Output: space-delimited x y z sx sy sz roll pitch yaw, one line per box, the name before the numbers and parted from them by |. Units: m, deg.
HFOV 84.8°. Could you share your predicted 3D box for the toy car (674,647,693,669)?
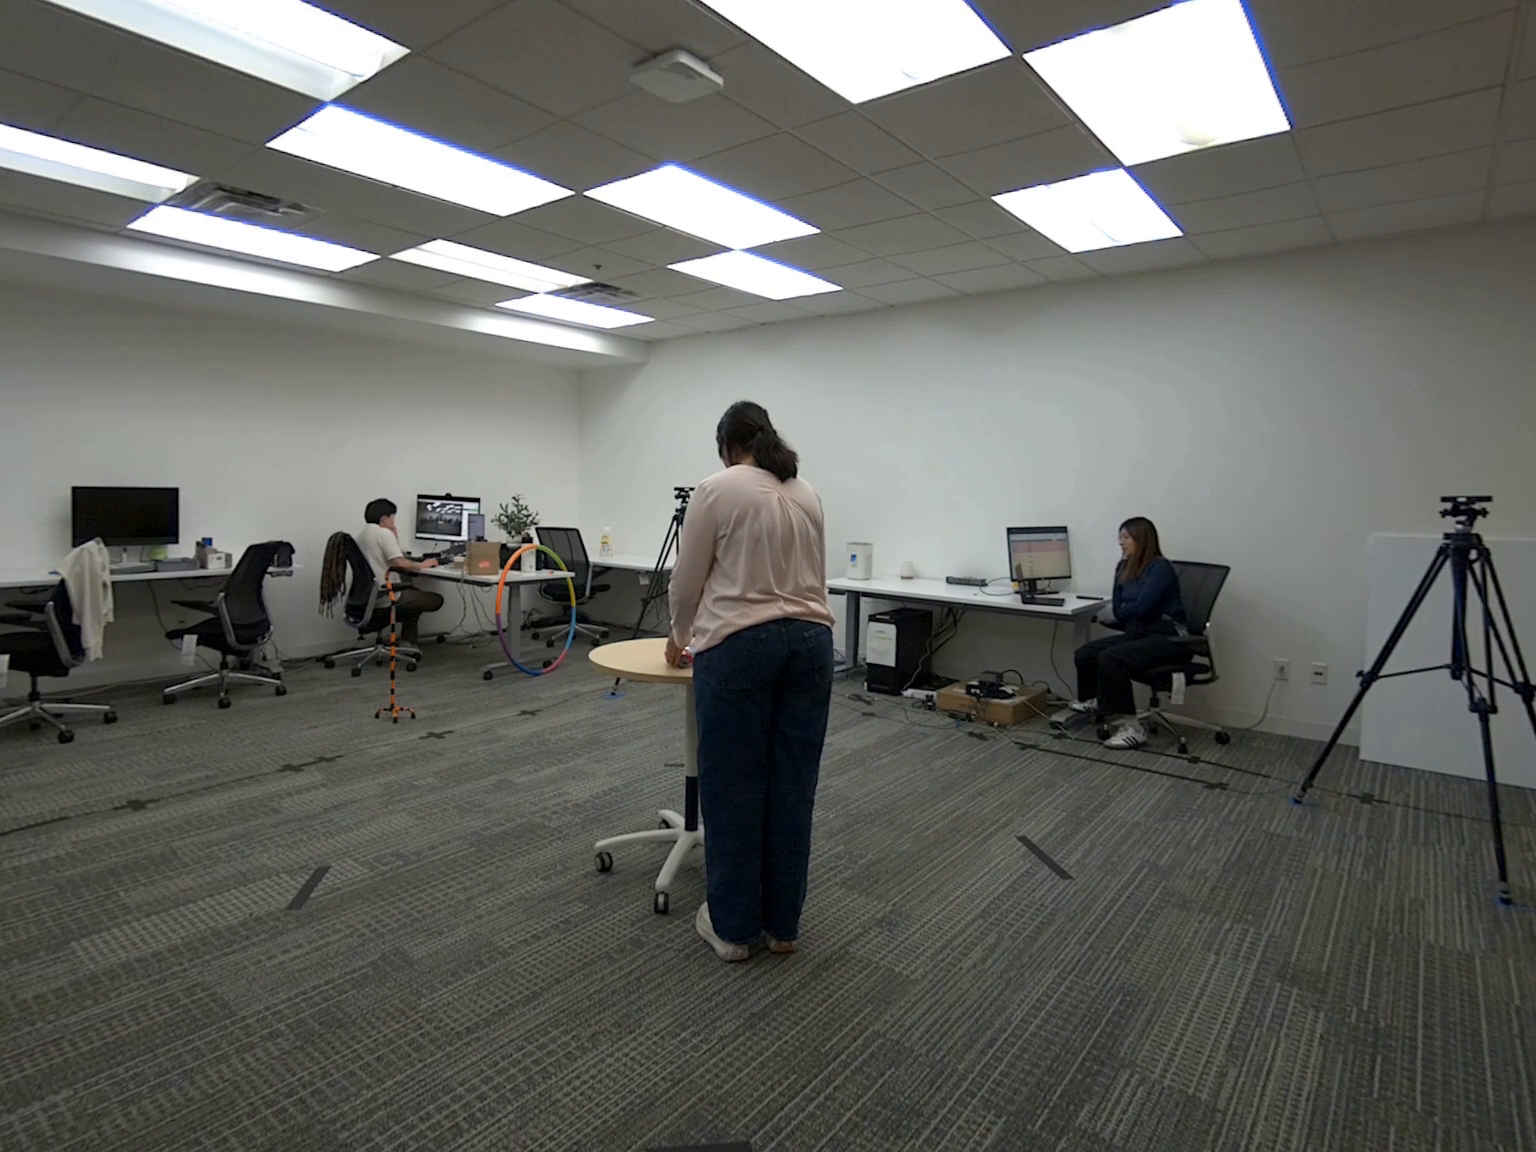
toy car | -0.222 0.266 2.920 0.250 0.082 0.134 -14 12 -25
